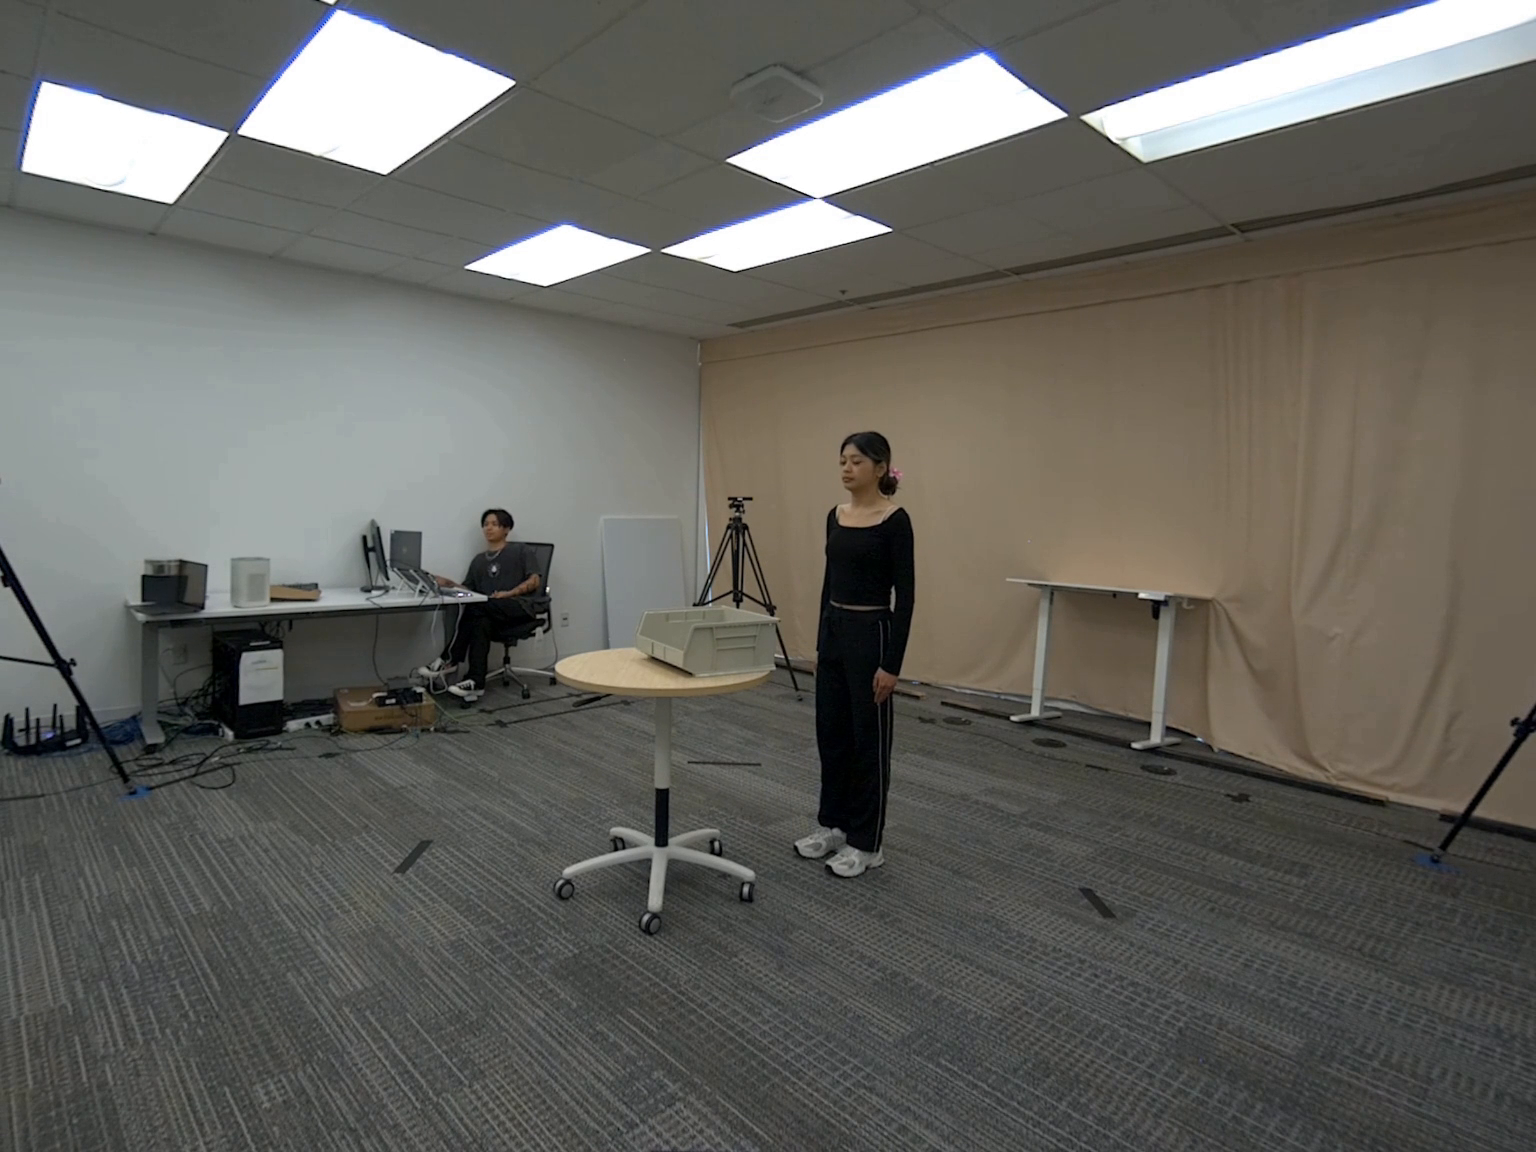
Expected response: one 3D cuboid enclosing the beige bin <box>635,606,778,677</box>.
[{"bbox_3d":[-0.234,0.229,3.021,0.369,0.188,0.432,0,4,-31],"label":"beige bin"}]
